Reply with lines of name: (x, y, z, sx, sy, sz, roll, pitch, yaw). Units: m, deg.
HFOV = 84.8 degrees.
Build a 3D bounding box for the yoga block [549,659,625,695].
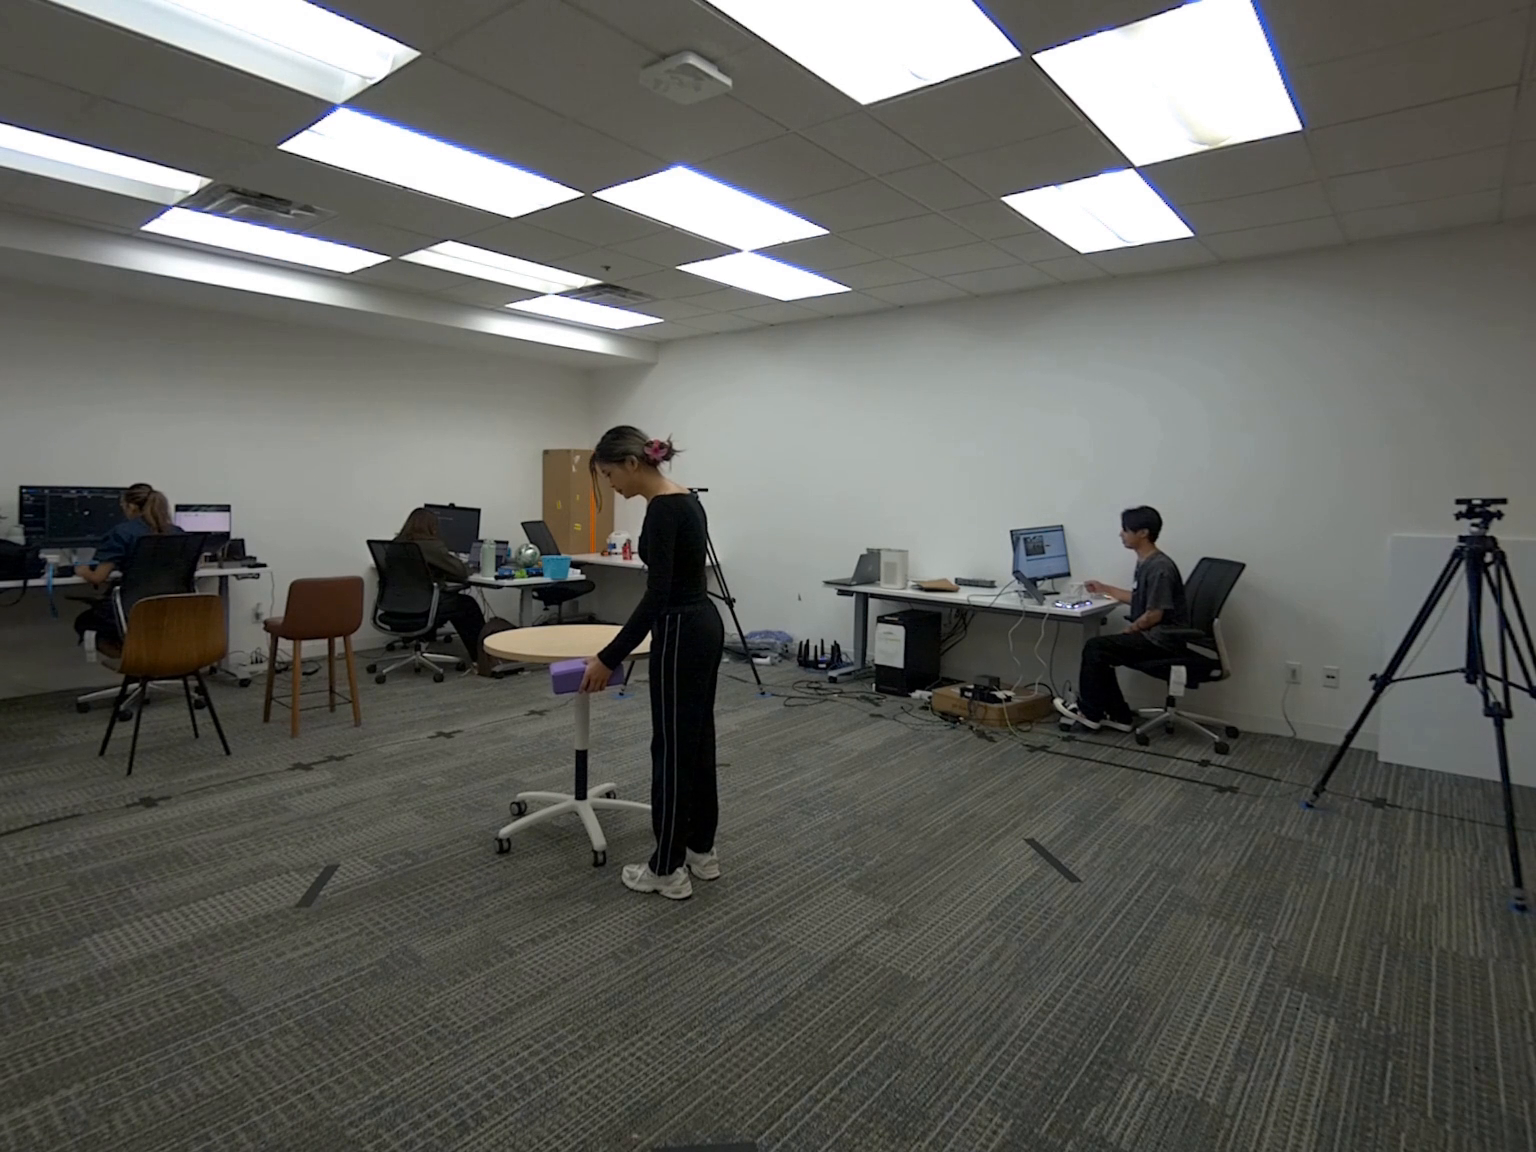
yoga block: (-0.606, 0.319, 2.785, 0.226, 0.076, 0.152, -7, 8, -13)
